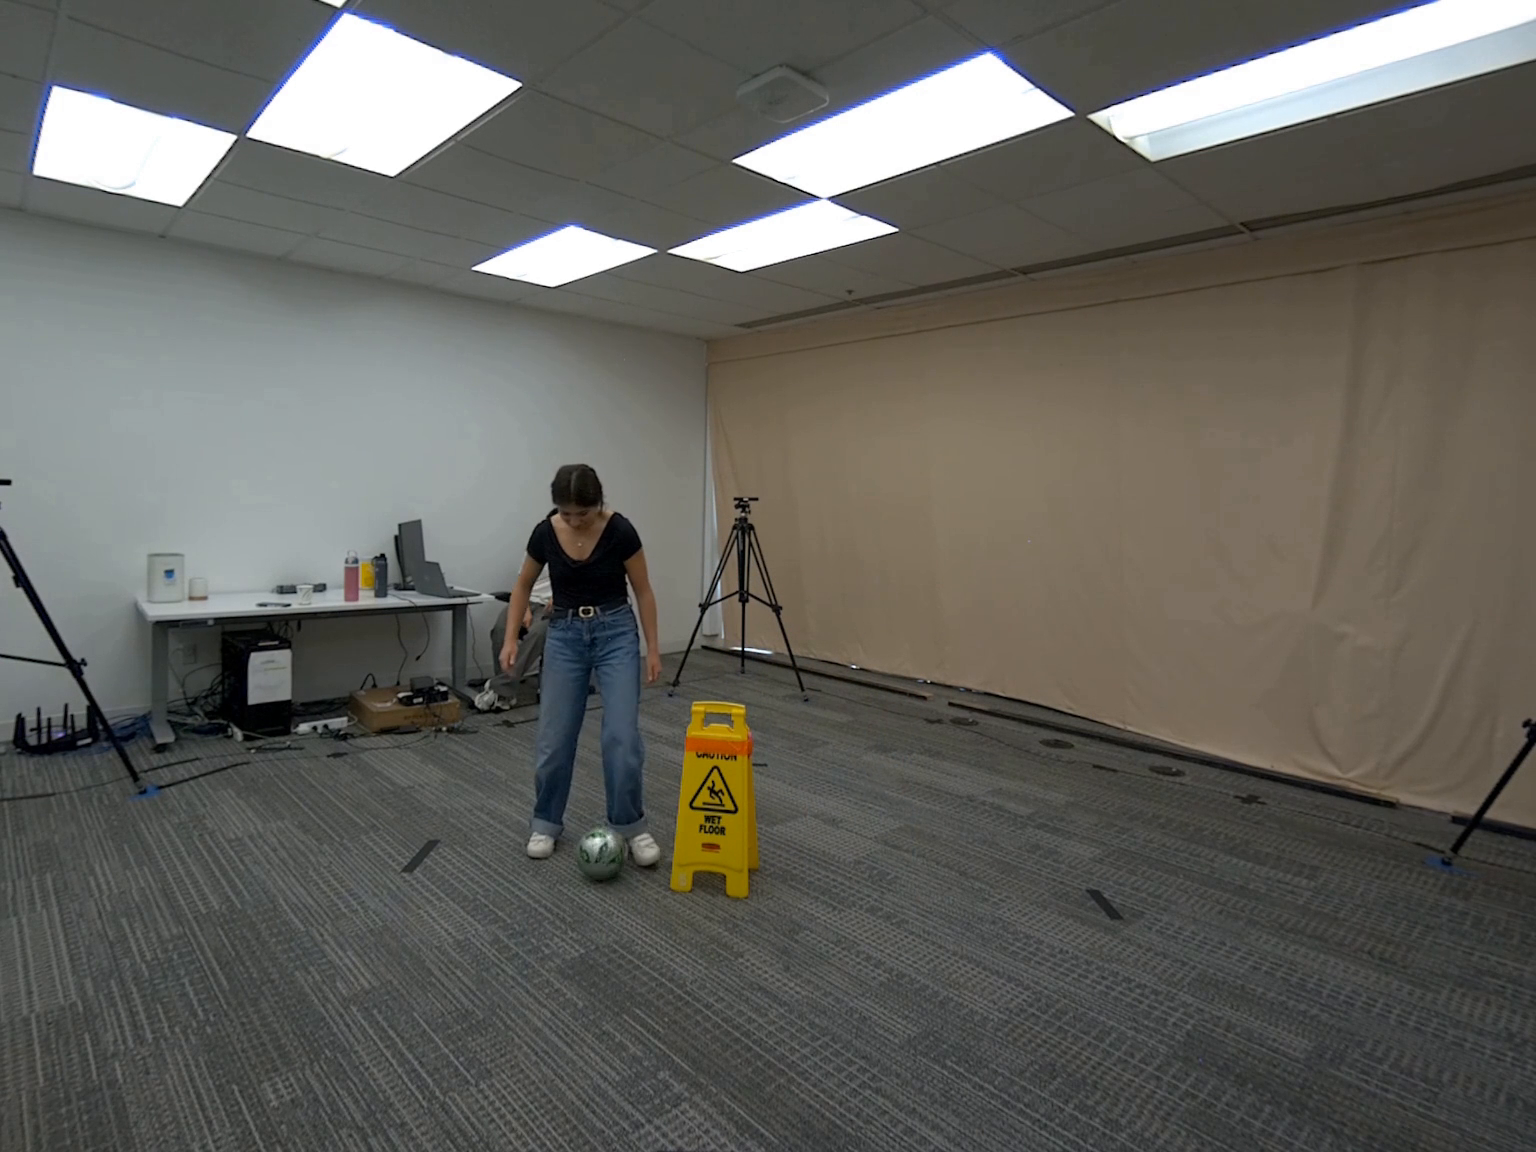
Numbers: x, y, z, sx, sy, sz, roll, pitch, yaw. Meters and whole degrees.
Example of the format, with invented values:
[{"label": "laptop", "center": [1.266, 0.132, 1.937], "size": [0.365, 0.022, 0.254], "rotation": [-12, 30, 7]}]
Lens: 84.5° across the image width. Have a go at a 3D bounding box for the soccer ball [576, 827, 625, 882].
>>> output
[{"label": "soccer ball", "center": [-0.628, 1.013, 3.061], "size": [0.187, 0.187, 0.188], "rotation": [1, 4, -1]}]
